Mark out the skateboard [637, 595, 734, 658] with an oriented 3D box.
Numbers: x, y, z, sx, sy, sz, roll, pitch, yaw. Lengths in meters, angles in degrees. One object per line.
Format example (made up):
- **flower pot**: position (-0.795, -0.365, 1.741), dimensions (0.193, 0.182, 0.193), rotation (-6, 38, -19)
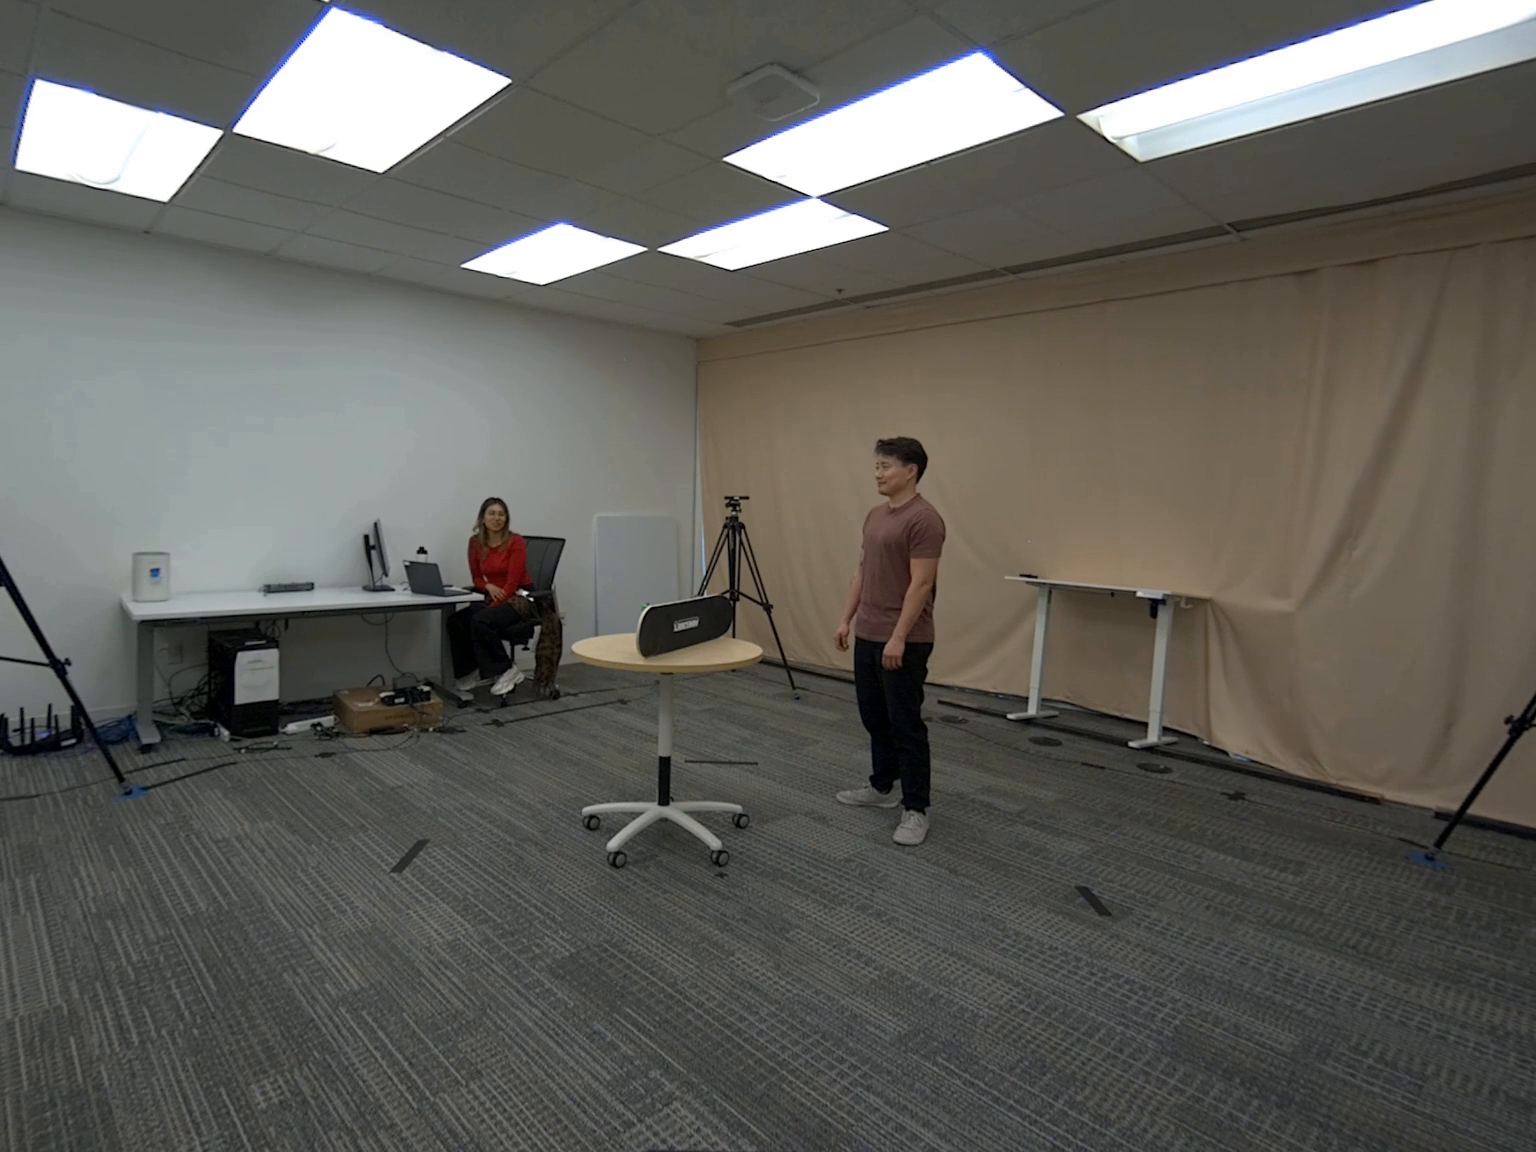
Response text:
- **skateboard**: position (-0.365, 0.193, 3.390), dimensions (0.112, 0.193, 0.772), rotation (1, 4, 24)
